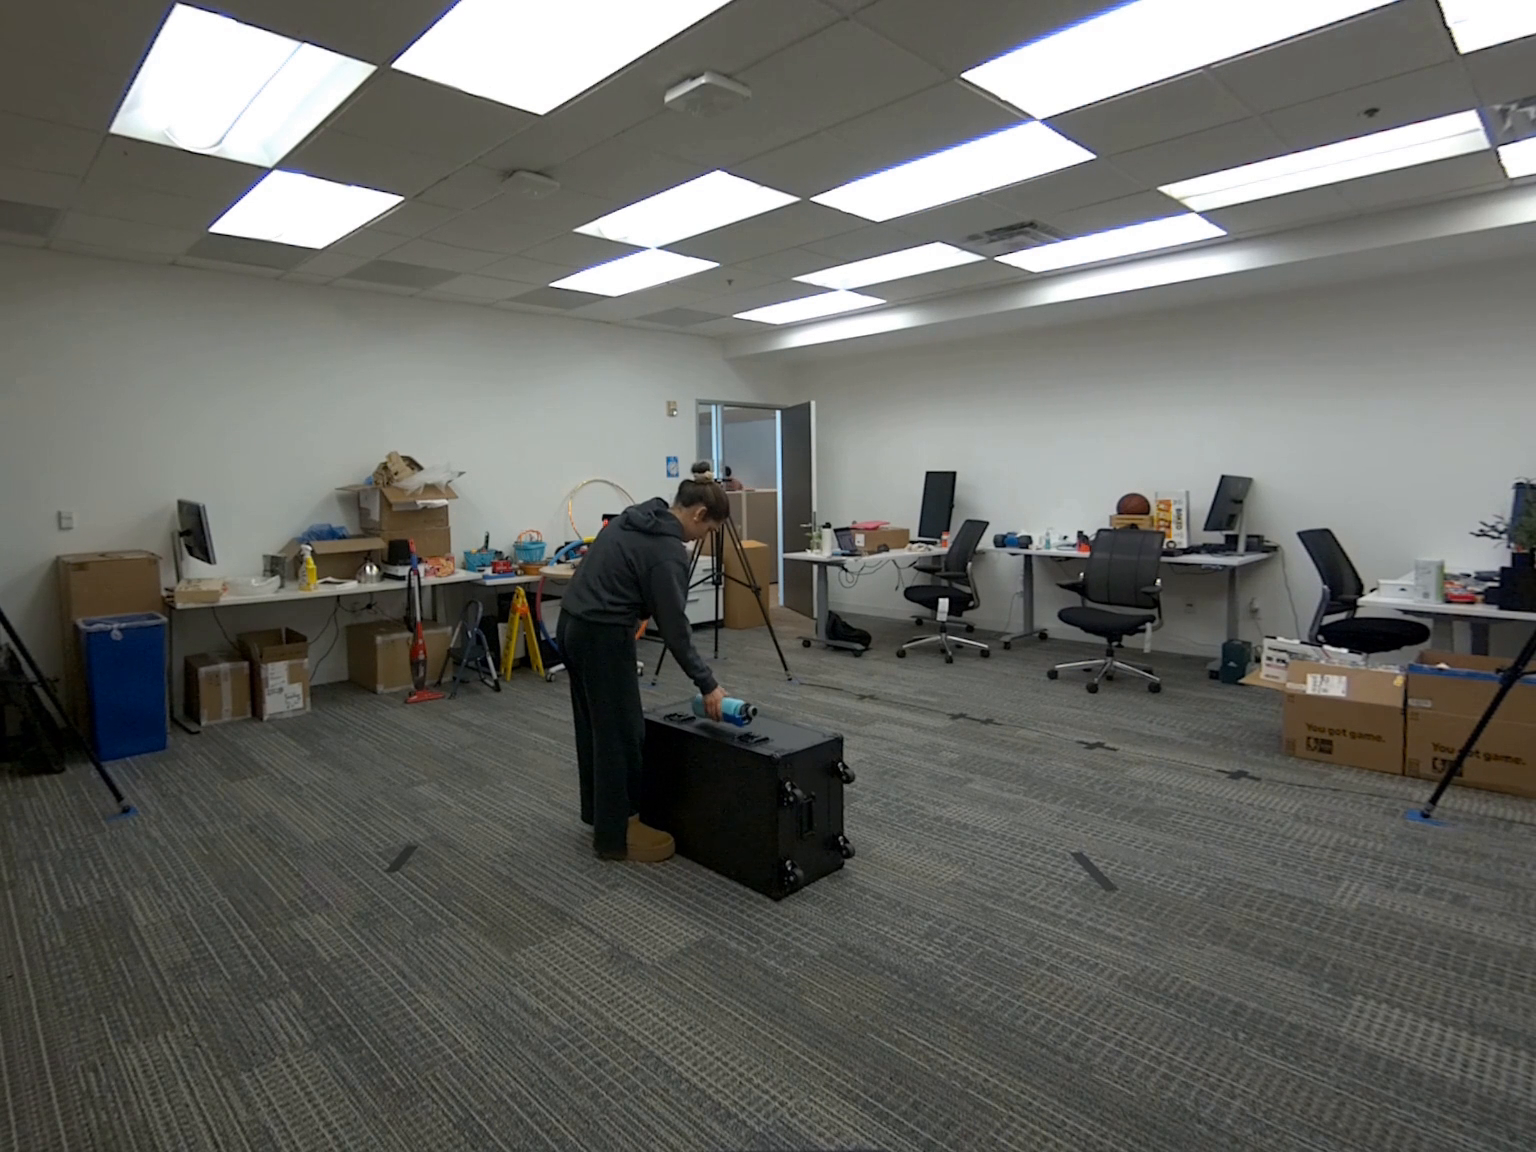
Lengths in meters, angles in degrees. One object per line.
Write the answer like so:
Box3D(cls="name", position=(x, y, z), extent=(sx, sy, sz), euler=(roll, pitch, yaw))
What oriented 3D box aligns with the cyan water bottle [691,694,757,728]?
Box3D(cls="cyan water bottle", position=(-0.152, 0.484, 3.127), extent=(0.090, 0.092, 0.291), euler=(-5, 3, -43))
